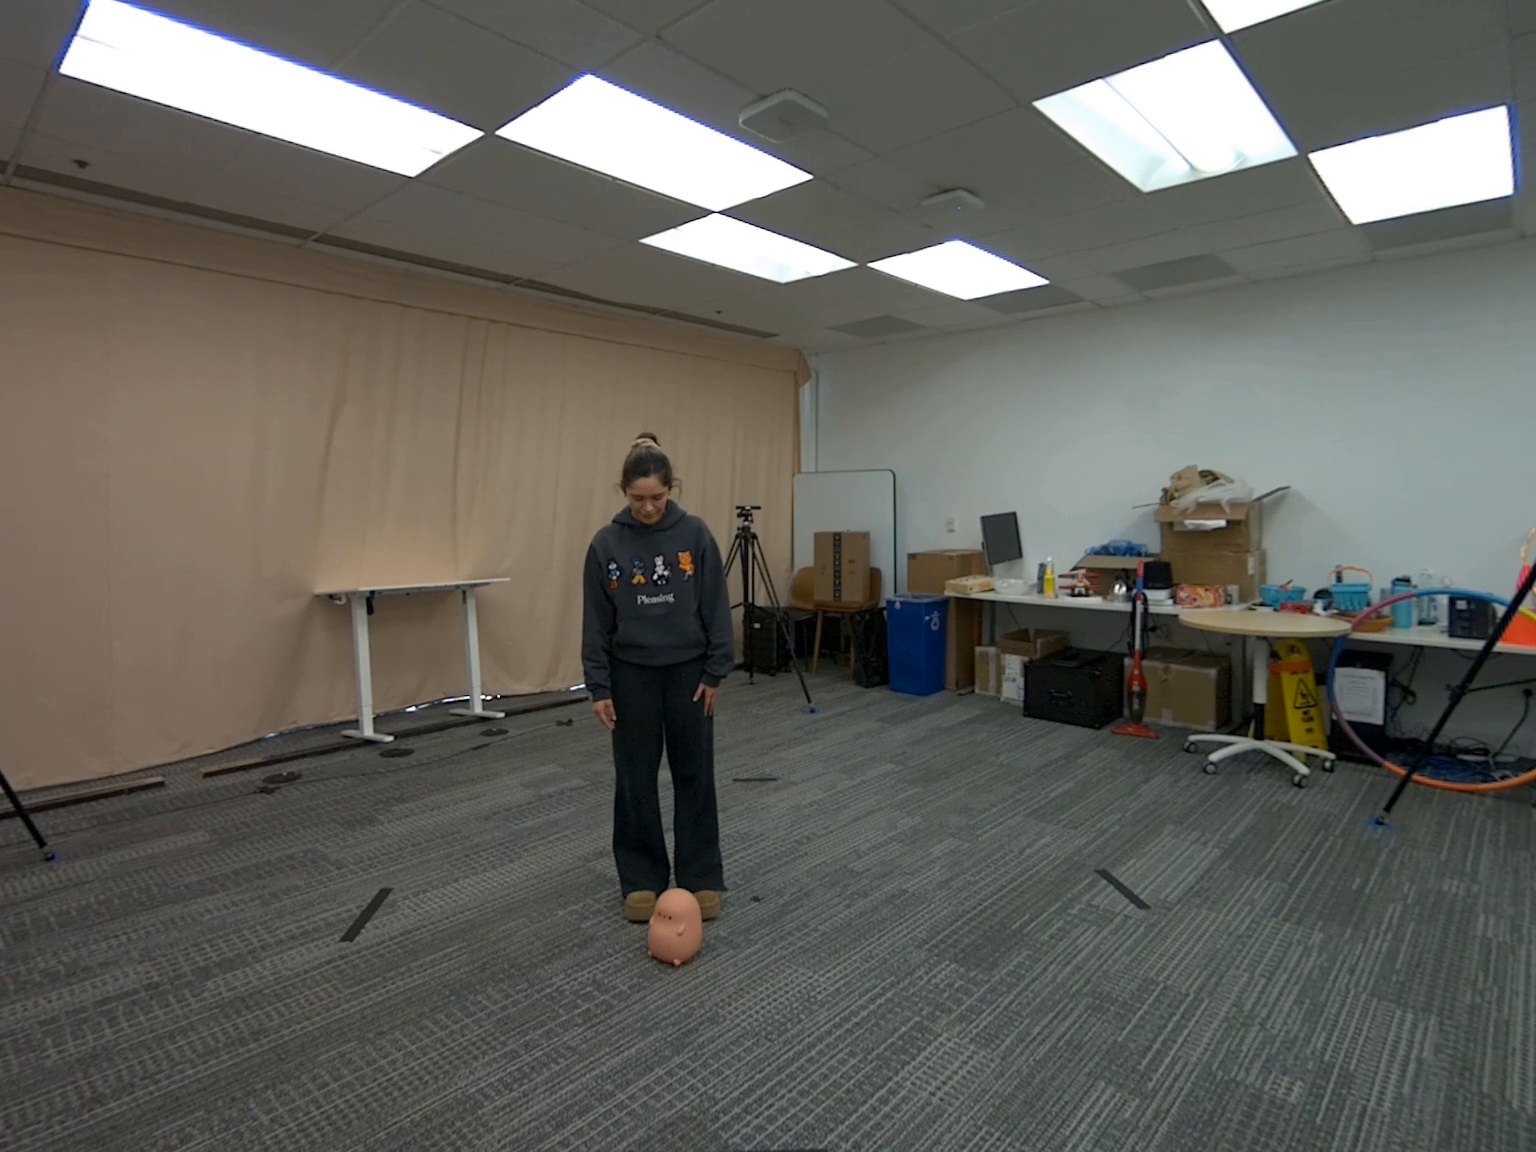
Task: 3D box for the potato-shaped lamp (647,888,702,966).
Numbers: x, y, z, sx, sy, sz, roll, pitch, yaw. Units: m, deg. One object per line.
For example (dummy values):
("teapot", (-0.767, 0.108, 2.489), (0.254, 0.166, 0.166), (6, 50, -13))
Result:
("potato-shaped lamp", (-0.276, 1.071, 2.620), (0.169, 0.198, 0.167), (1, 4, 32))
